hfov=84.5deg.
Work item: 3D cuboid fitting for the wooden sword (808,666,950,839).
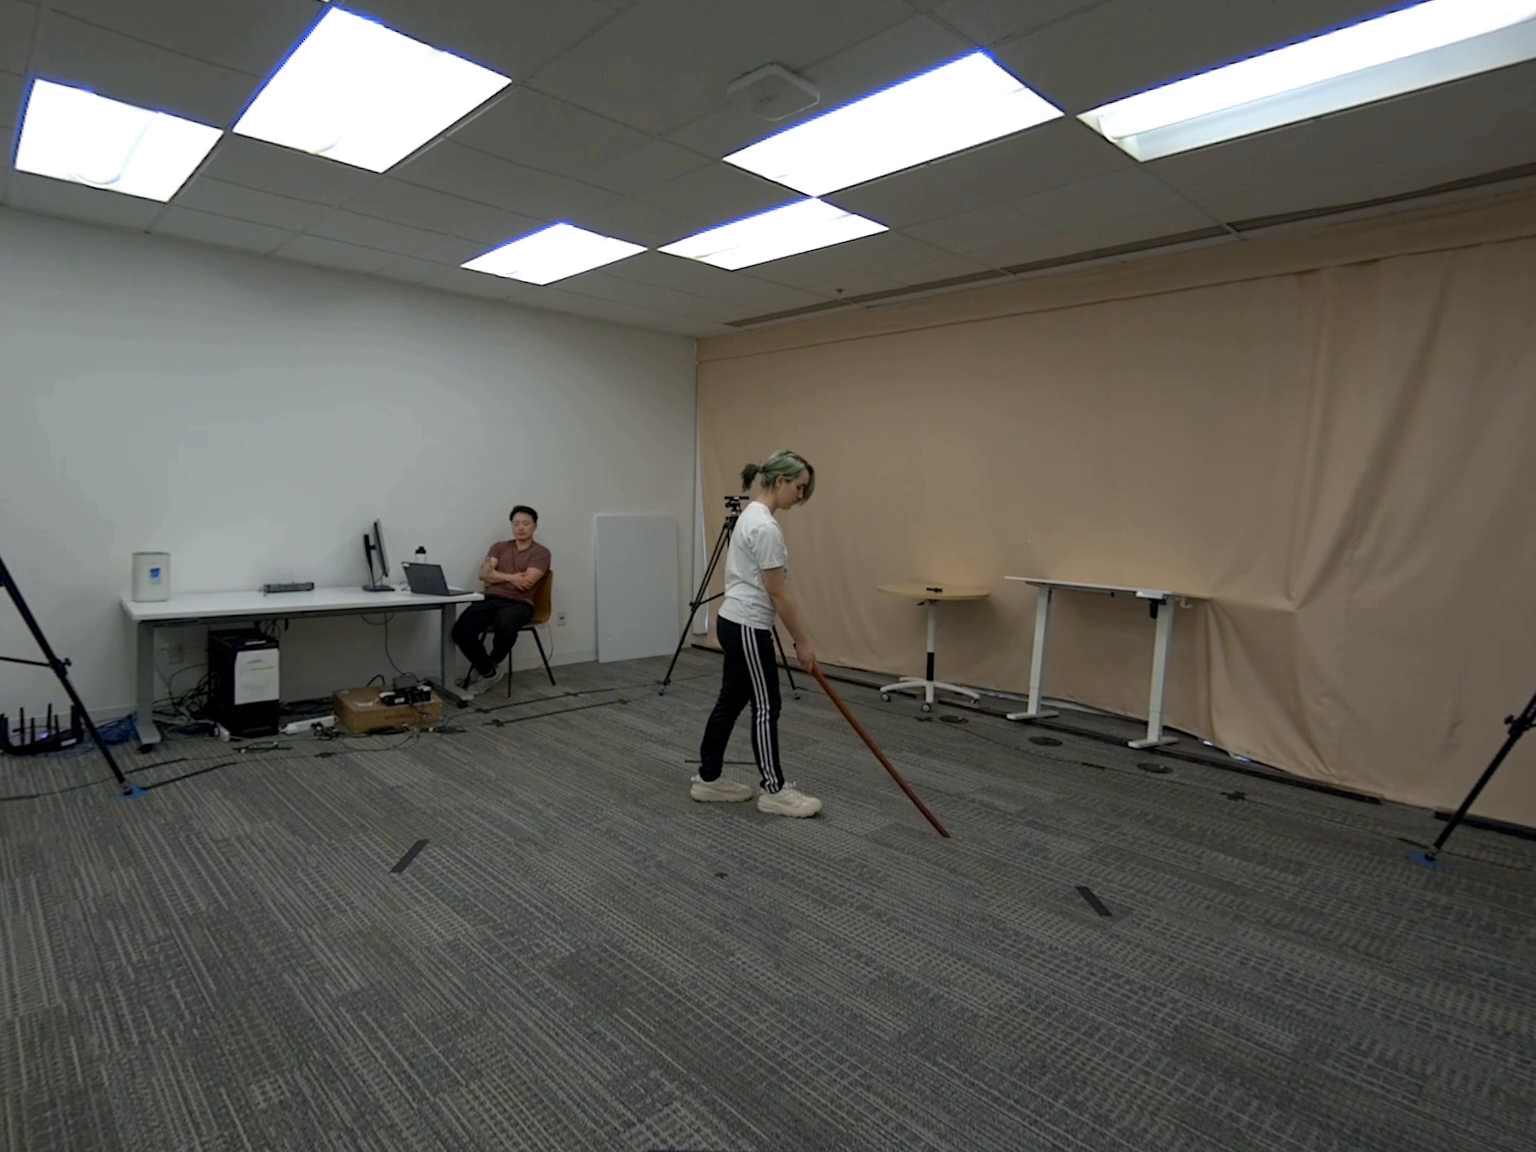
[{"bbox_3d":[0.427,0.700,3.650,0.050,1.041,0.024,-19,-24,-53],"label":"wooden sword"}]
